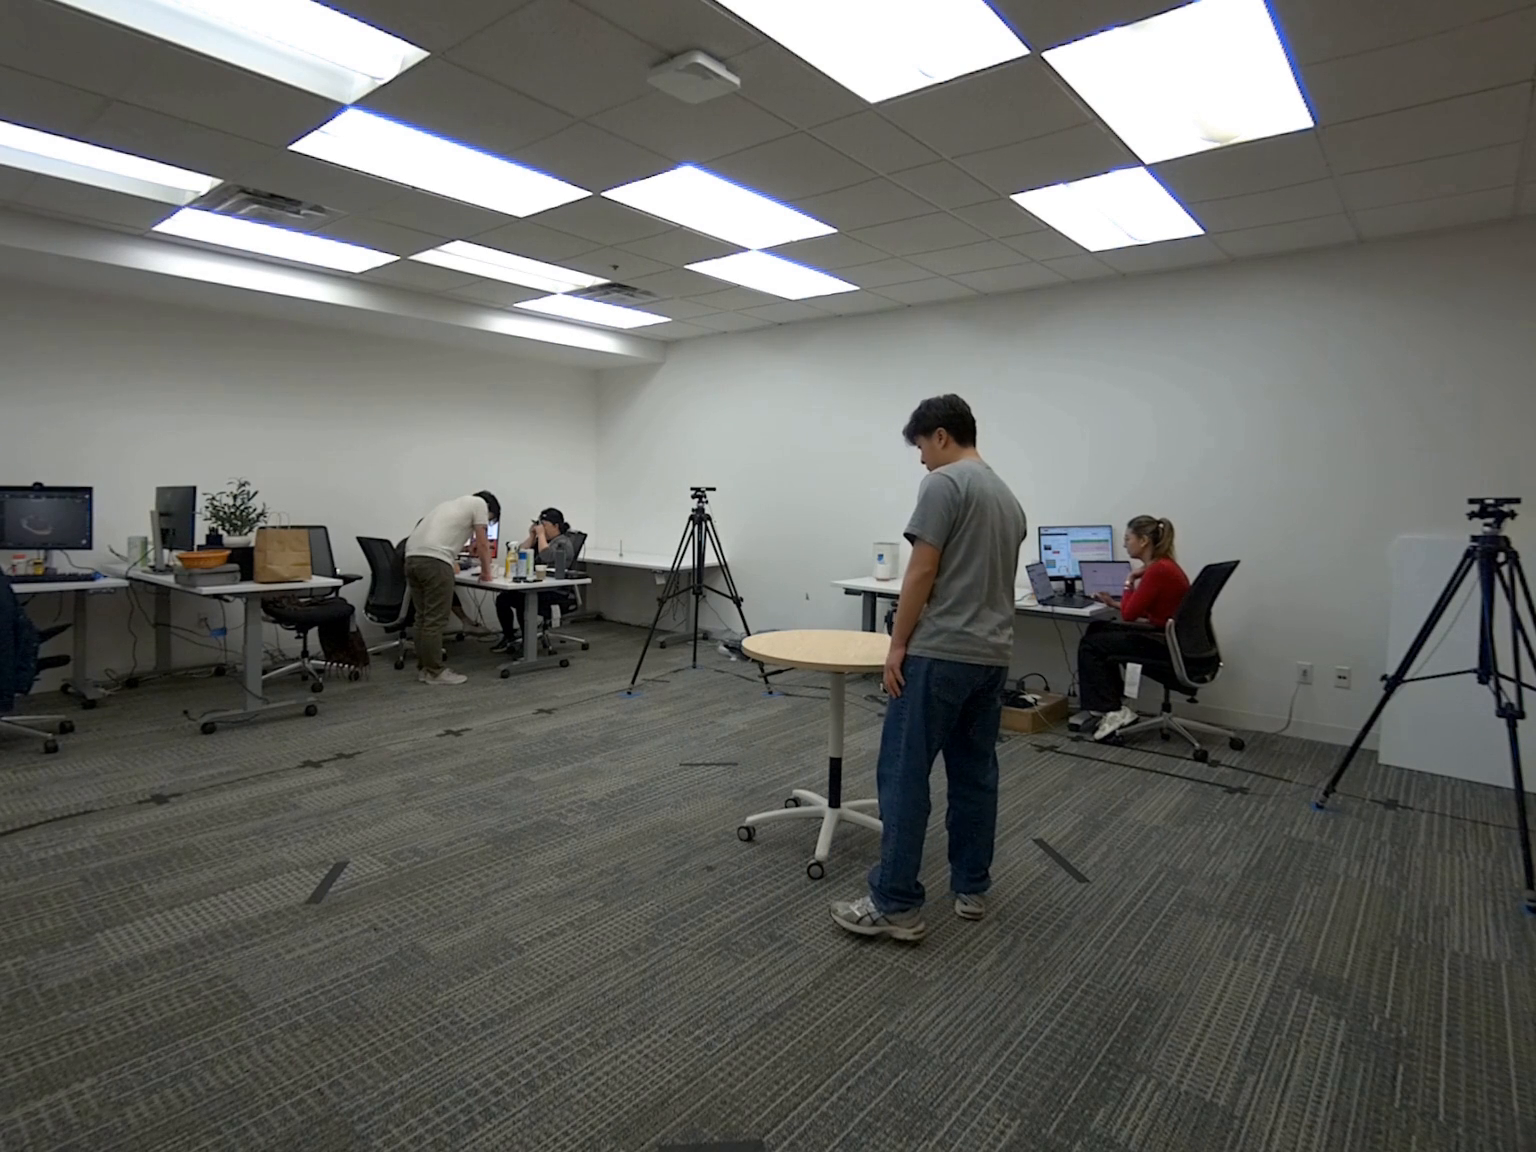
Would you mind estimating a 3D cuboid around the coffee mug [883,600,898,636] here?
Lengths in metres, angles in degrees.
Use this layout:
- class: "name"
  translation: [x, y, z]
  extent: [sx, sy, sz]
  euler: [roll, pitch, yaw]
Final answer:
- class: "coffee mug"
  translation: [0.466, 0.196, 3.092]
  extent: [0.119, 0.202, 0.090]
  euler: [7, 4, -24]
